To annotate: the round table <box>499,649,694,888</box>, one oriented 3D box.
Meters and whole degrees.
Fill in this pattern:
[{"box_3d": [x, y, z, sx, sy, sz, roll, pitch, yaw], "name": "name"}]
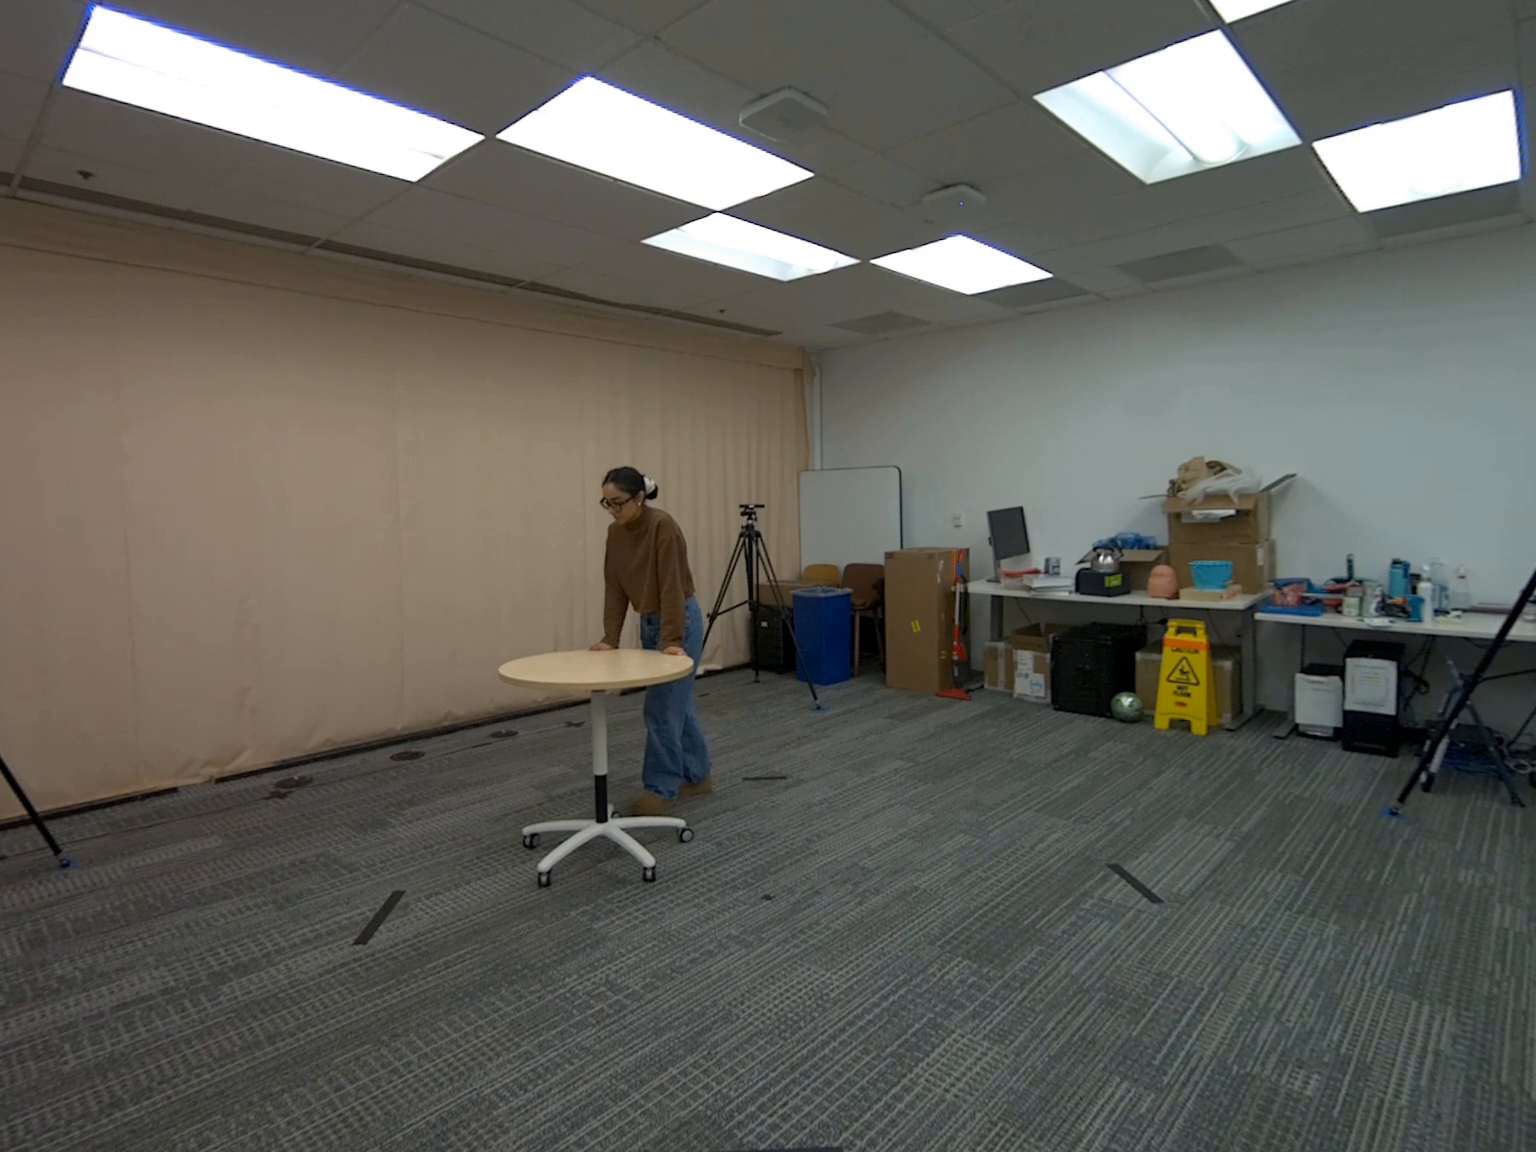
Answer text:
[{"box_3d": [-0.670, 0.738, 3.366, 0.763, 0.792, 0.766, -1, 3, -2], "name": "round table"}]
